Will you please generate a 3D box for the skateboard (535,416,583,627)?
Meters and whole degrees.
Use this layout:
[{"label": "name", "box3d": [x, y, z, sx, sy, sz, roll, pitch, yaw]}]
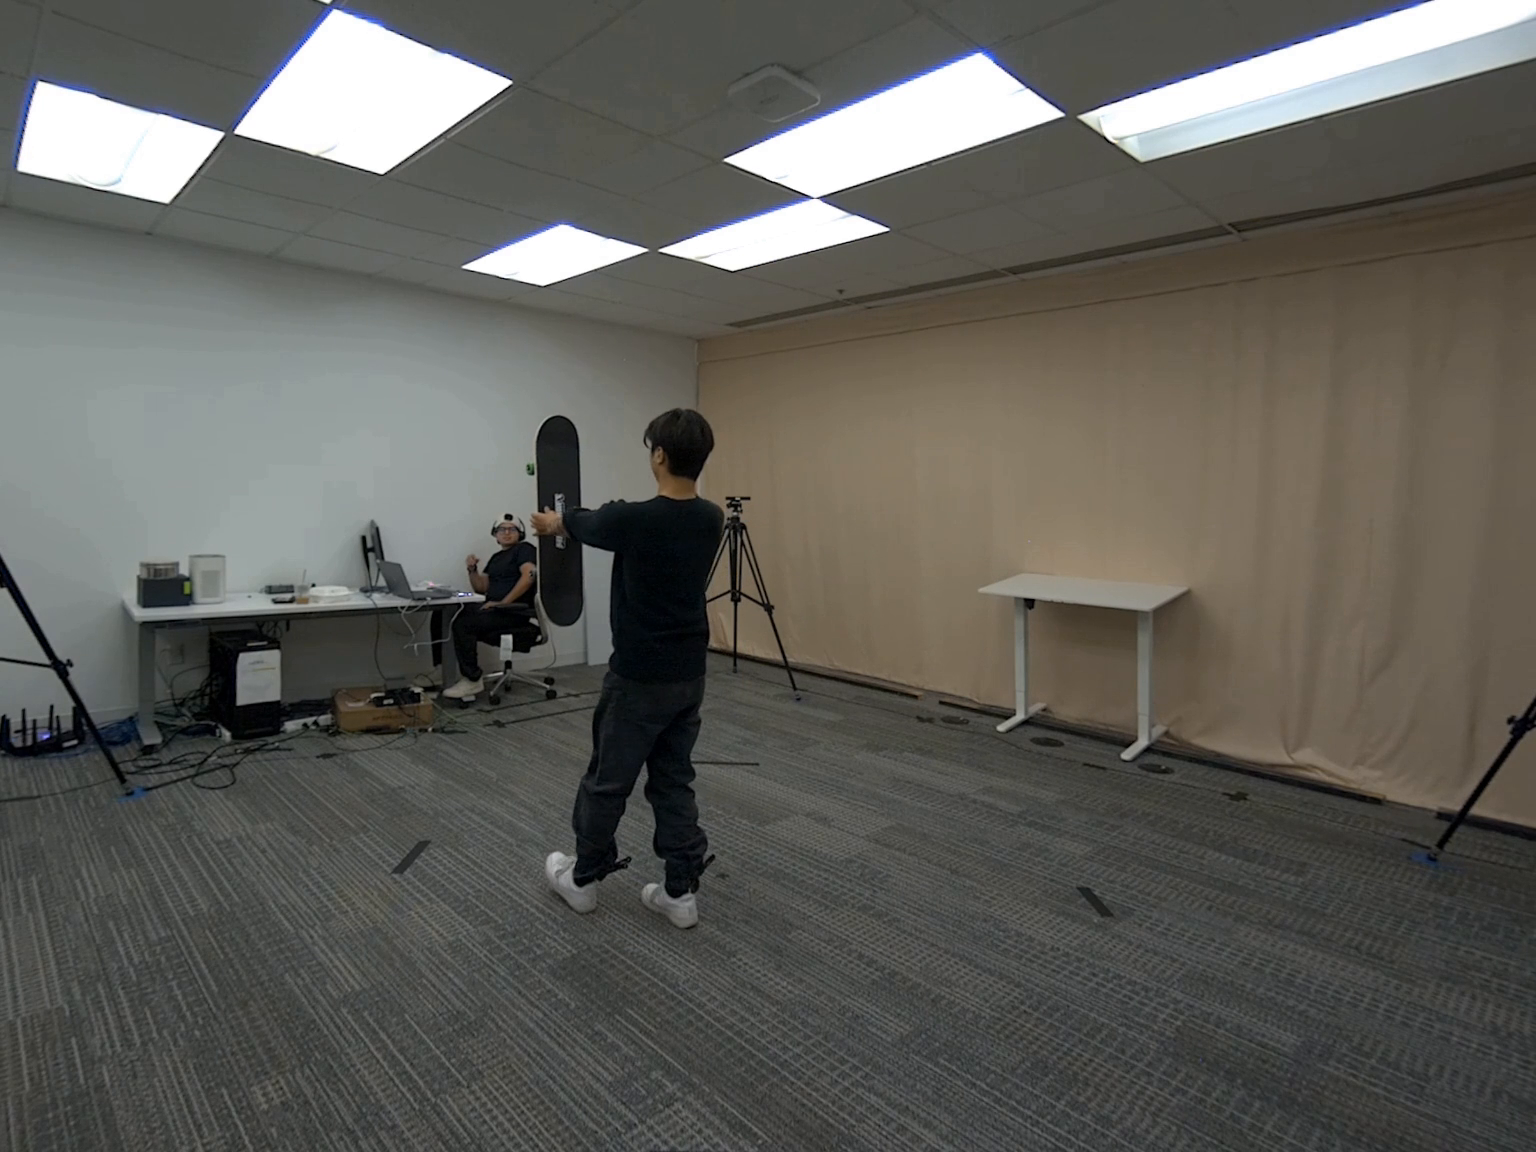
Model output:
[{"label": "skateboard", "box3d": [-0.807, -0.205, 3.172, 0.189, 0.786, 0.113, -1, -2, -45]}]
